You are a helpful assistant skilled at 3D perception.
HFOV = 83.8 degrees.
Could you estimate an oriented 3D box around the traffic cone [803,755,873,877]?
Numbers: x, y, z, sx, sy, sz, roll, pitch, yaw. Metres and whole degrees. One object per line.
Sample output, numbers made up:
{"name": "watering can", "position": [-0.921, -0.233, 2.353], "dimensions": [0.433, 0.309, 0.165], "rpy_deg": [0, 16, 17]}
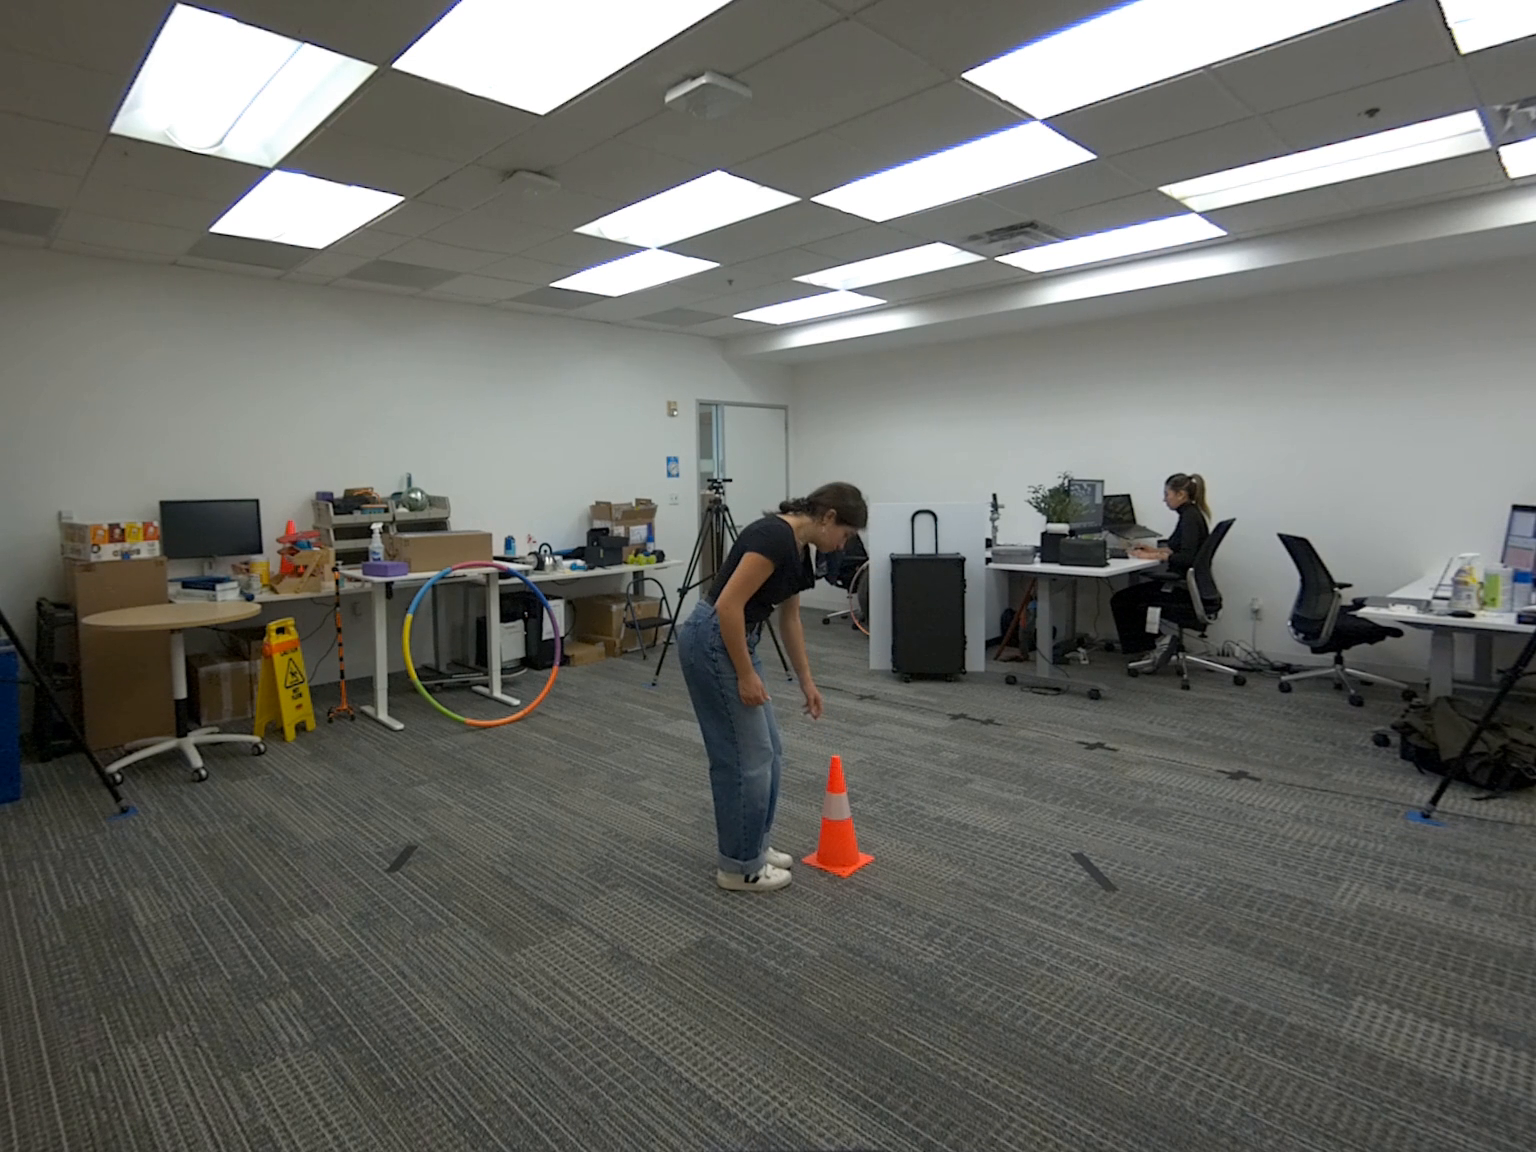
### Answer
{"name": "traffic cone", "position": [0.247, 0.853, 3.128], "dimensions": [0.211, 0.383, 0.198], "rpy_deg": [0, 3, 43]}
